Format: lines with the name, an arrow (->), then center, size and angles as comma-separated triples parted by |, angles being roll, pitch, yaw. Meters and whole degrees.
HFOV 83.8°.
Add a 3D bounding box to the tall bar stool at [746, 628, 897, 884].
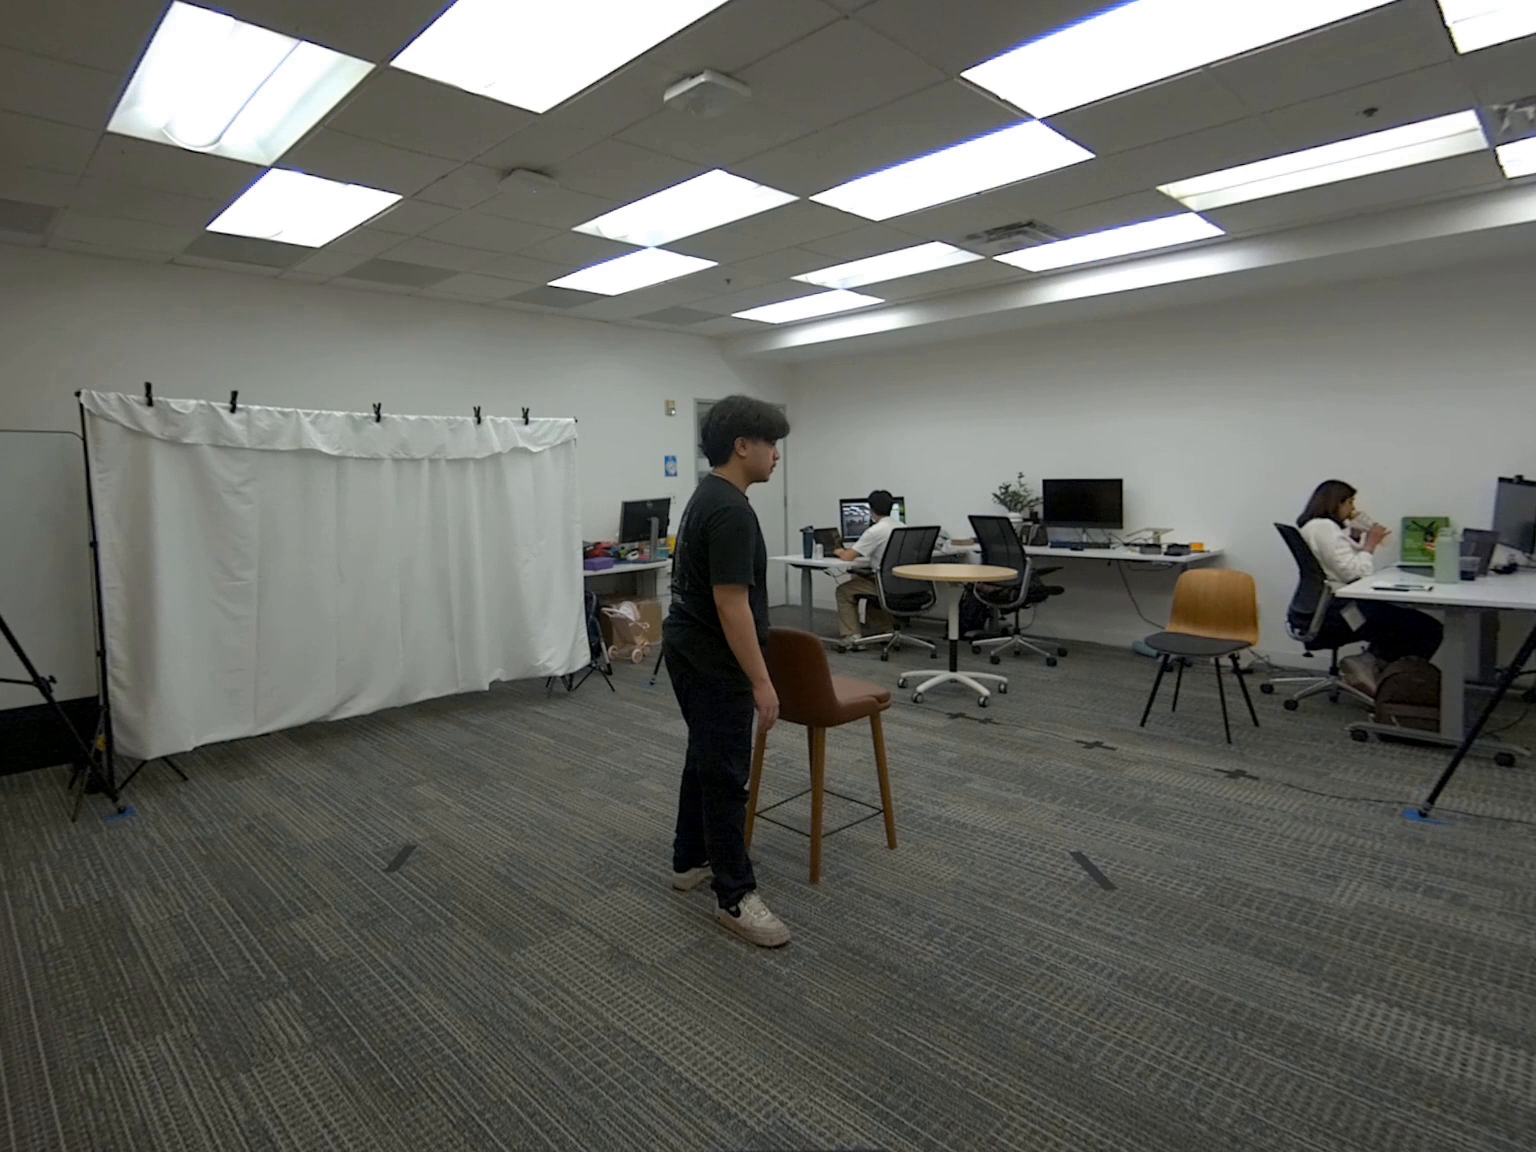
tall bar stool -> 0.173, 0.593, 3.182 | 0.456, 0.885, 0.470 | -7, 8, -43
